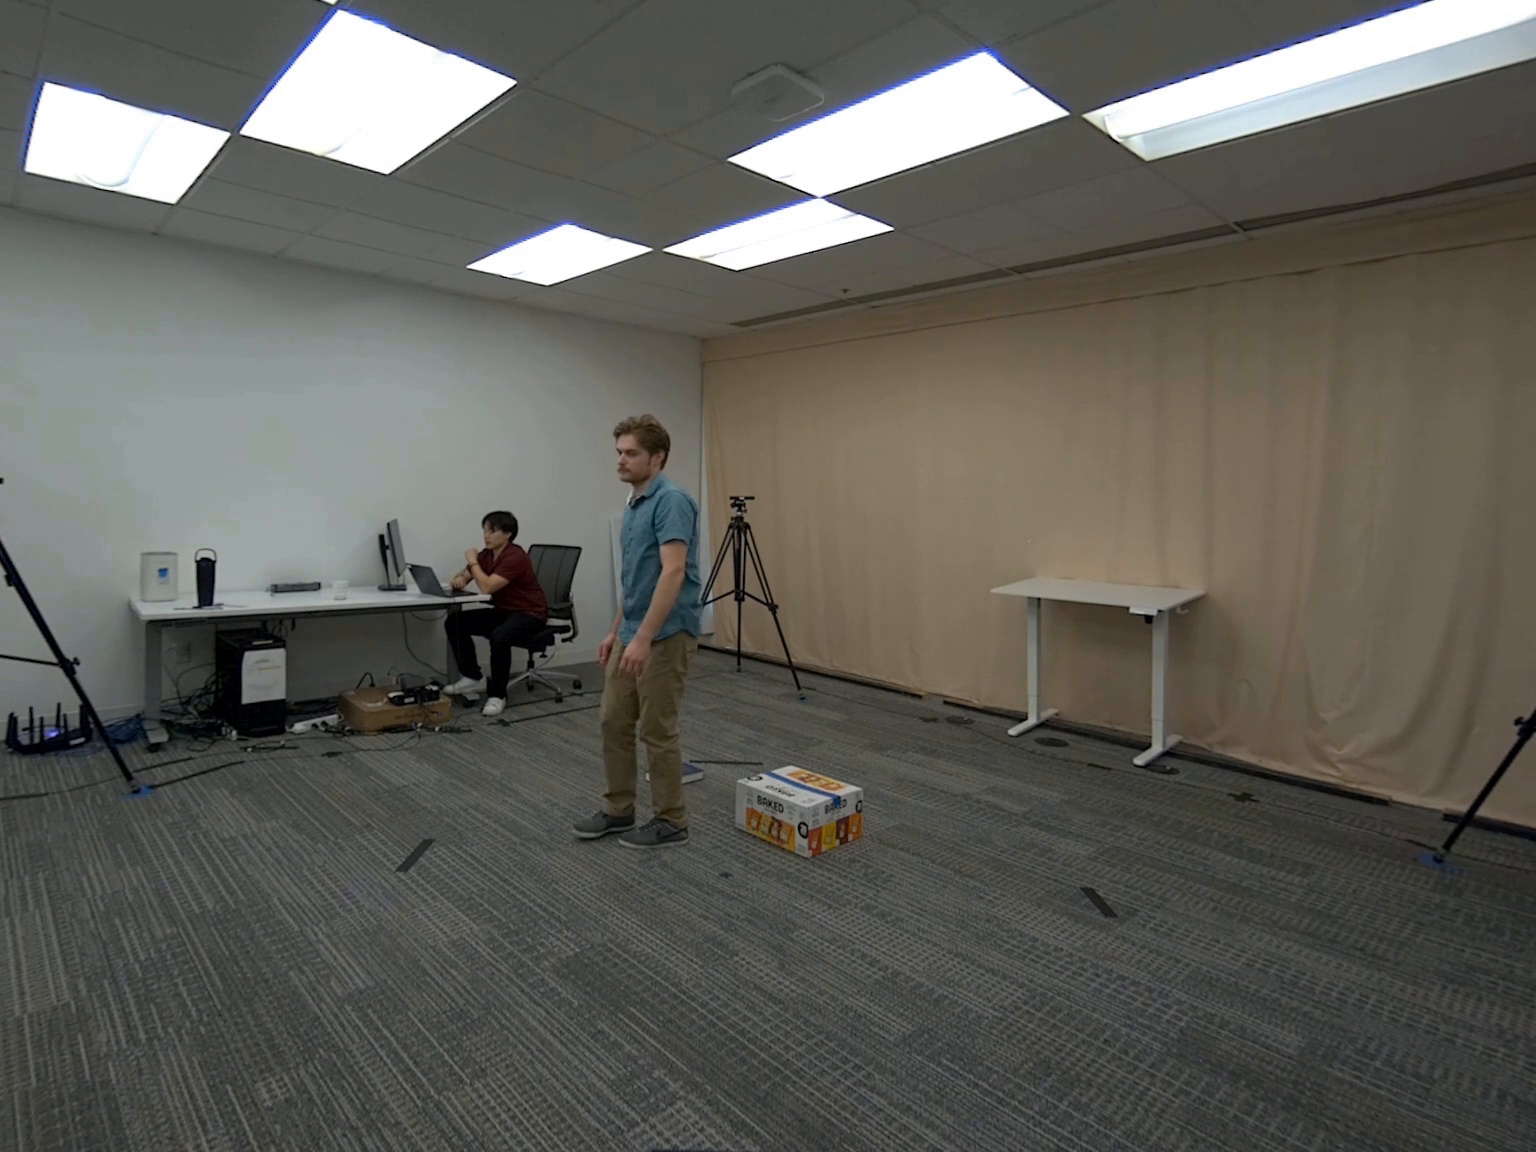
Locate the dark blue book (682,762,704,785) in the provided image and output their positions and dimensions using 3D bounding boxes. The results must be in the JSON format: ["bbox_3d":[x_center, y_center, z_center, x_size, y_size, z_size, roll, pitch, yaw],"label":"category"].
[{"bbox_3d":[-0.473,0.985,4.156,0.239,0.045,0.167,-2,6,-43],"label":"dark blue book"}]
